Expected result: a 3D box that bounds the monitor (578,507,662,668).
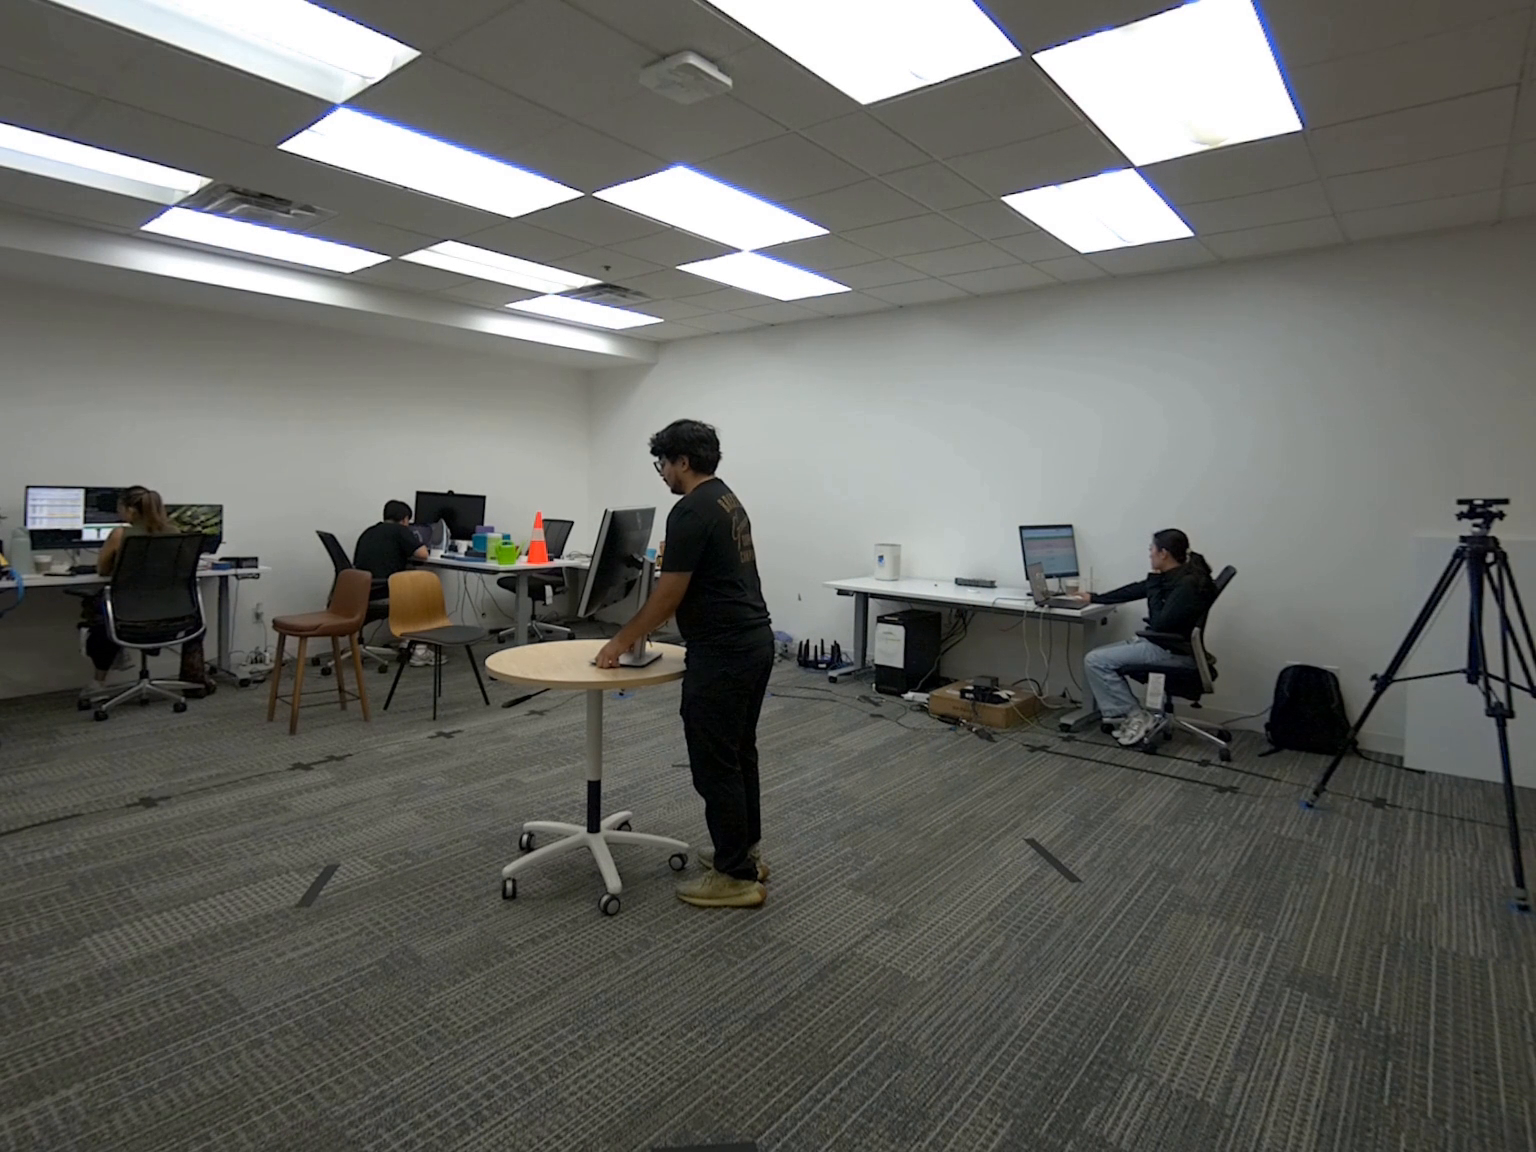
[{"bbox_3d":[-0.479,0.030,3.009,0.212,0.552,0.561,9,5,8],"label":"monitor"}]
